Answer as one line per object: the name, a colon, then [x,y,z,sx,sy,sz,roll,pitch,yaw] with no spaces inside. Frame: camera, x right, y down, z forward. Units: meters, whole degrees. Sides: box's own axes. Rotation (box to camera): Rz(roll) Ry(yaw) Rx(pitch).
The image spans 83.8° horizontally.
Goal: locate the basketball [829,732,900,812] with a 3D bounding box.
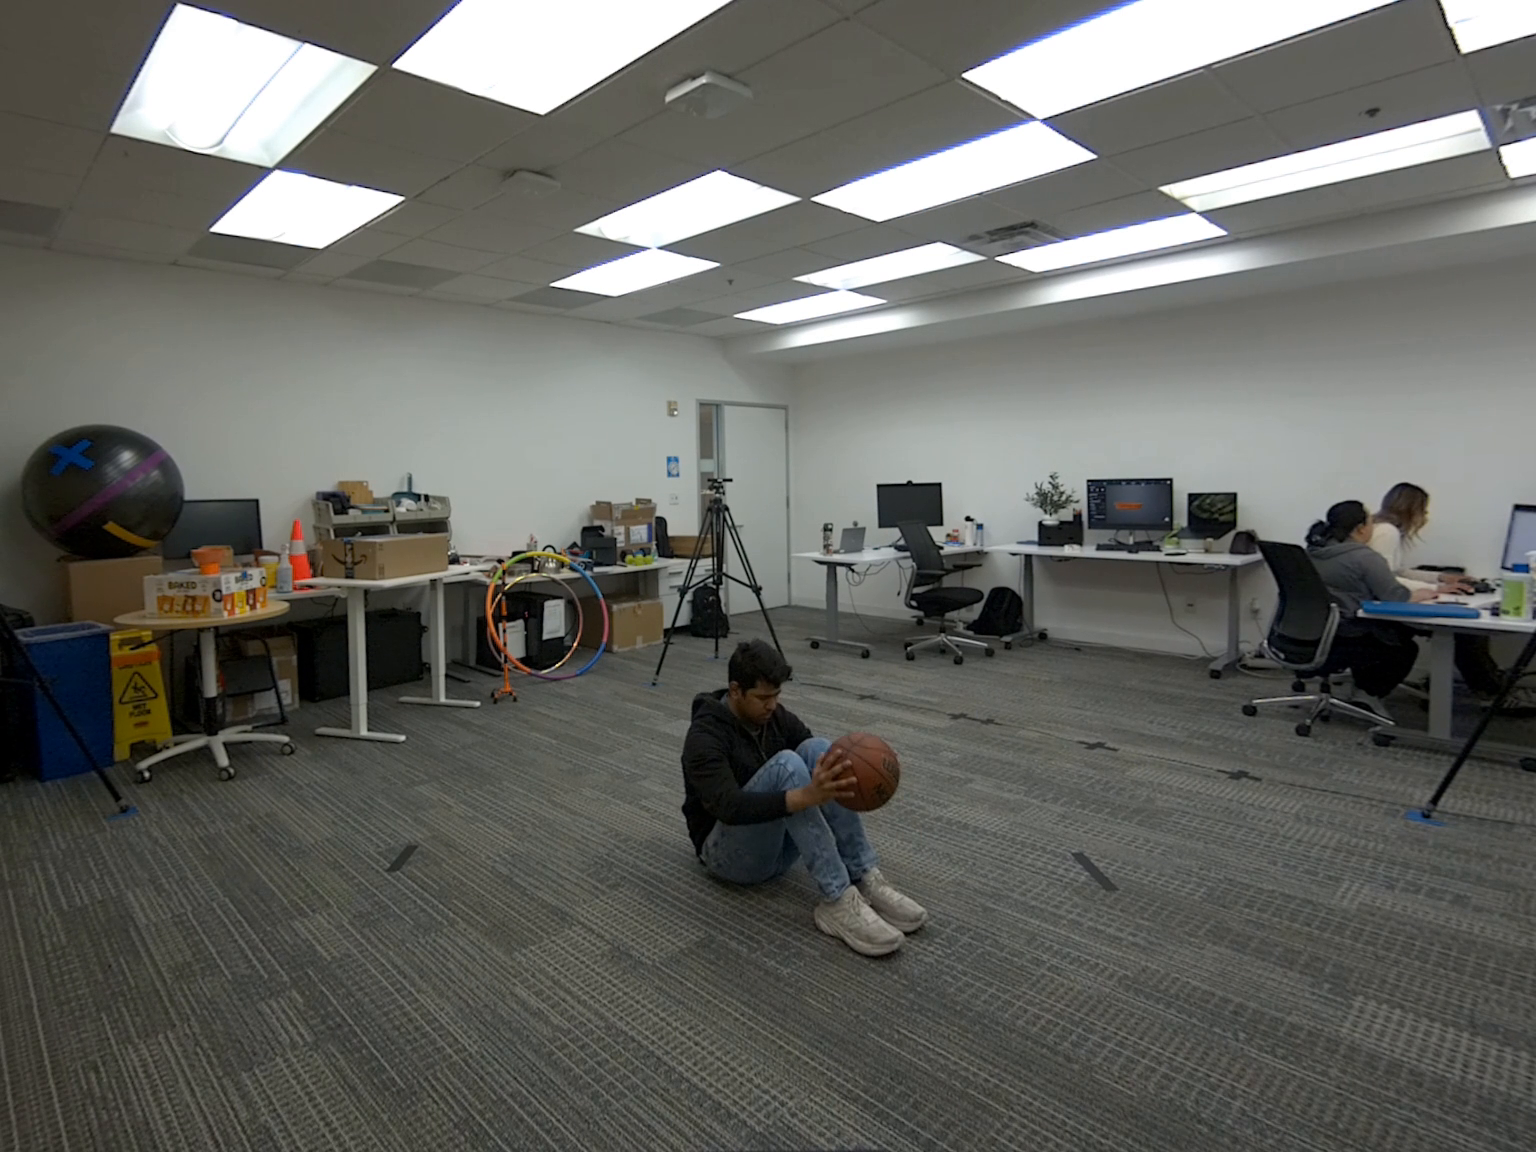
basketball: [0.283,0.612,2.659,0.236,0.235,0.237,-1,5,-2]
